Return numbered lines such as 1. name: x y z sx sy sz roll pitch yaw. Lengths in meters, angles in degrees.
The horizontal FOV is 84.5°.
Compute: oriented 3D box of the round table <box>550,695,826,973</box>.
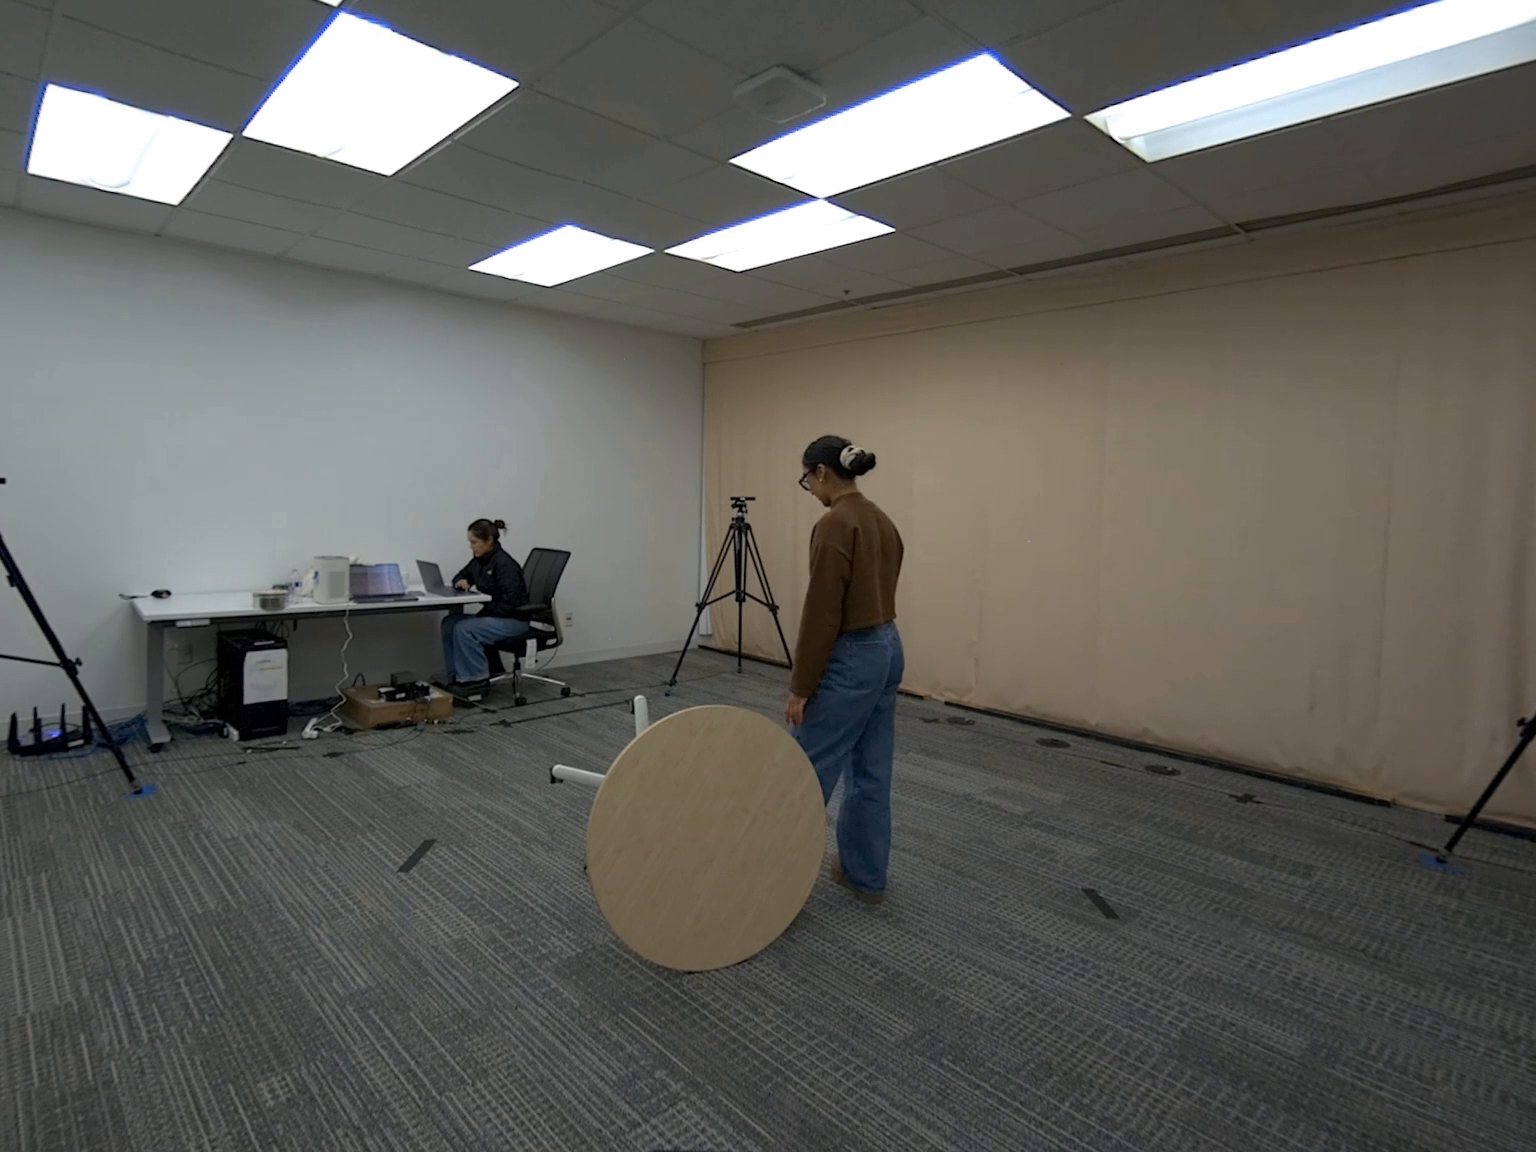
1. round table: -0.339 0.788 2.872 0.750 0.766 0.806 -1 -3 -25
